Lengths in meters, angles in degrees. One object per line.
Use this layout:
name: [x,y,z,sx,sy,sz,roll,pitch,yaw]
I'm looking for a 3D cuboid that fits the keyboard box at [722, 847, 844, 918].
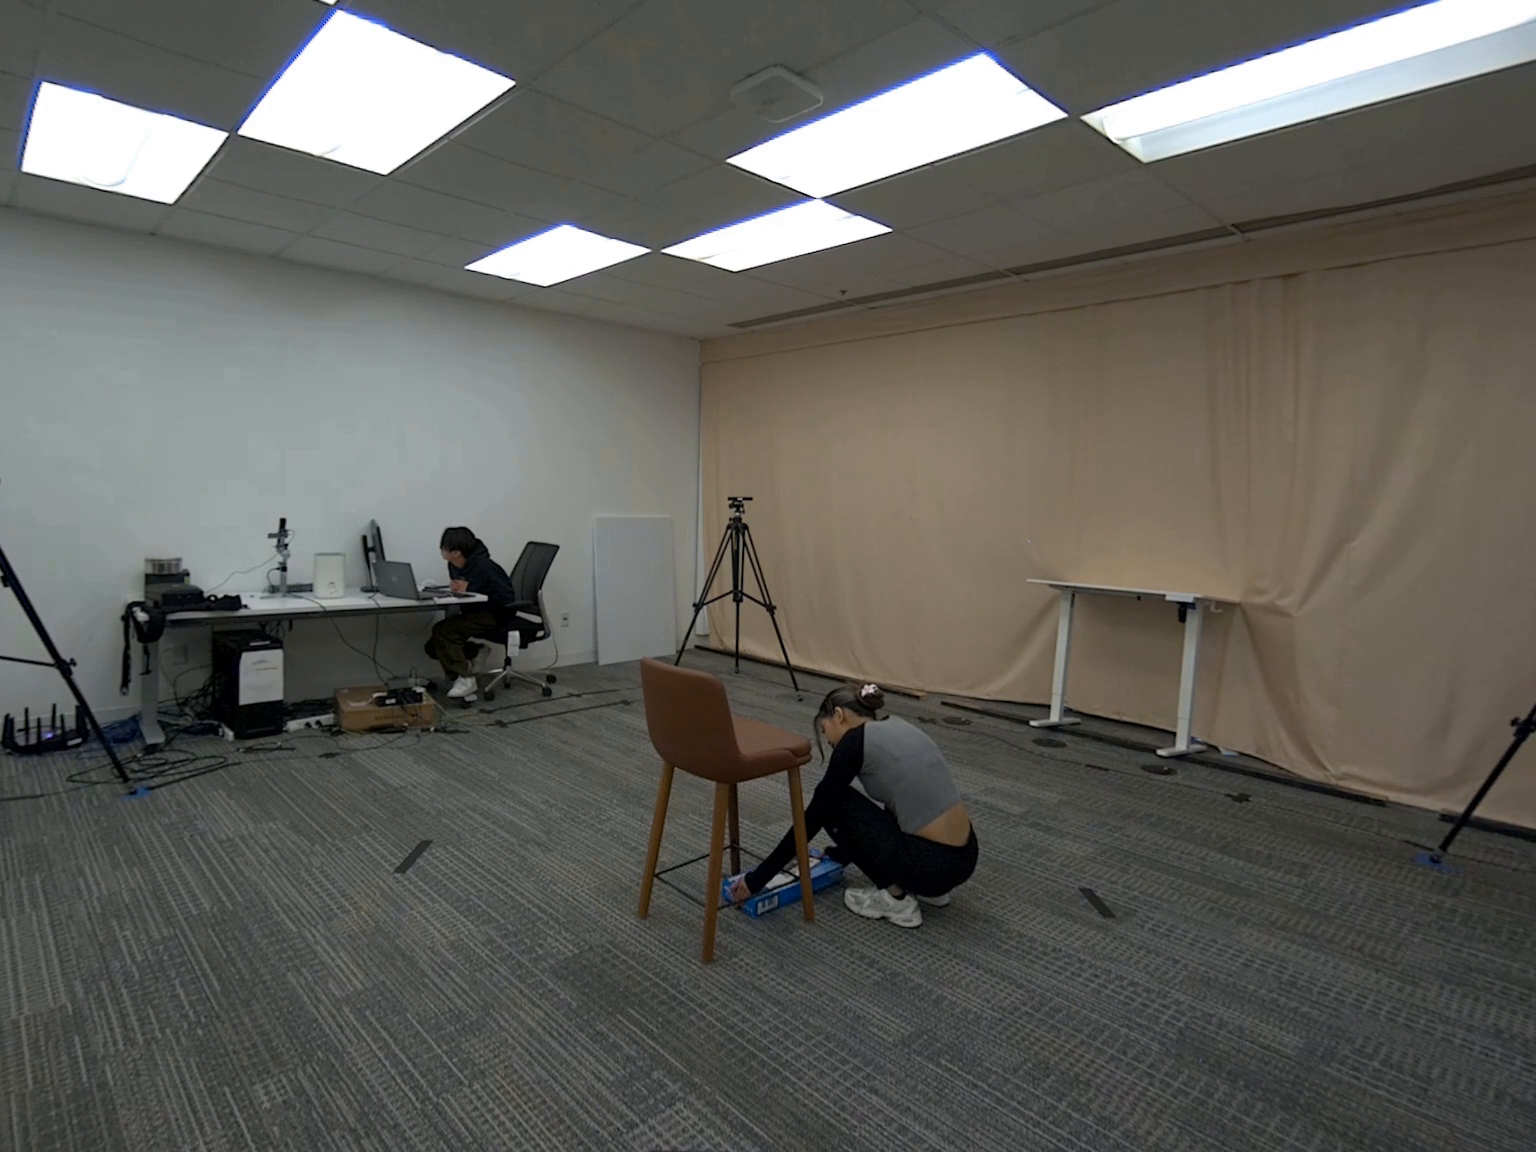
keyboard box: [0.055,1.082,2.991,0.427,0.059,0.180,-5,9,-41]
